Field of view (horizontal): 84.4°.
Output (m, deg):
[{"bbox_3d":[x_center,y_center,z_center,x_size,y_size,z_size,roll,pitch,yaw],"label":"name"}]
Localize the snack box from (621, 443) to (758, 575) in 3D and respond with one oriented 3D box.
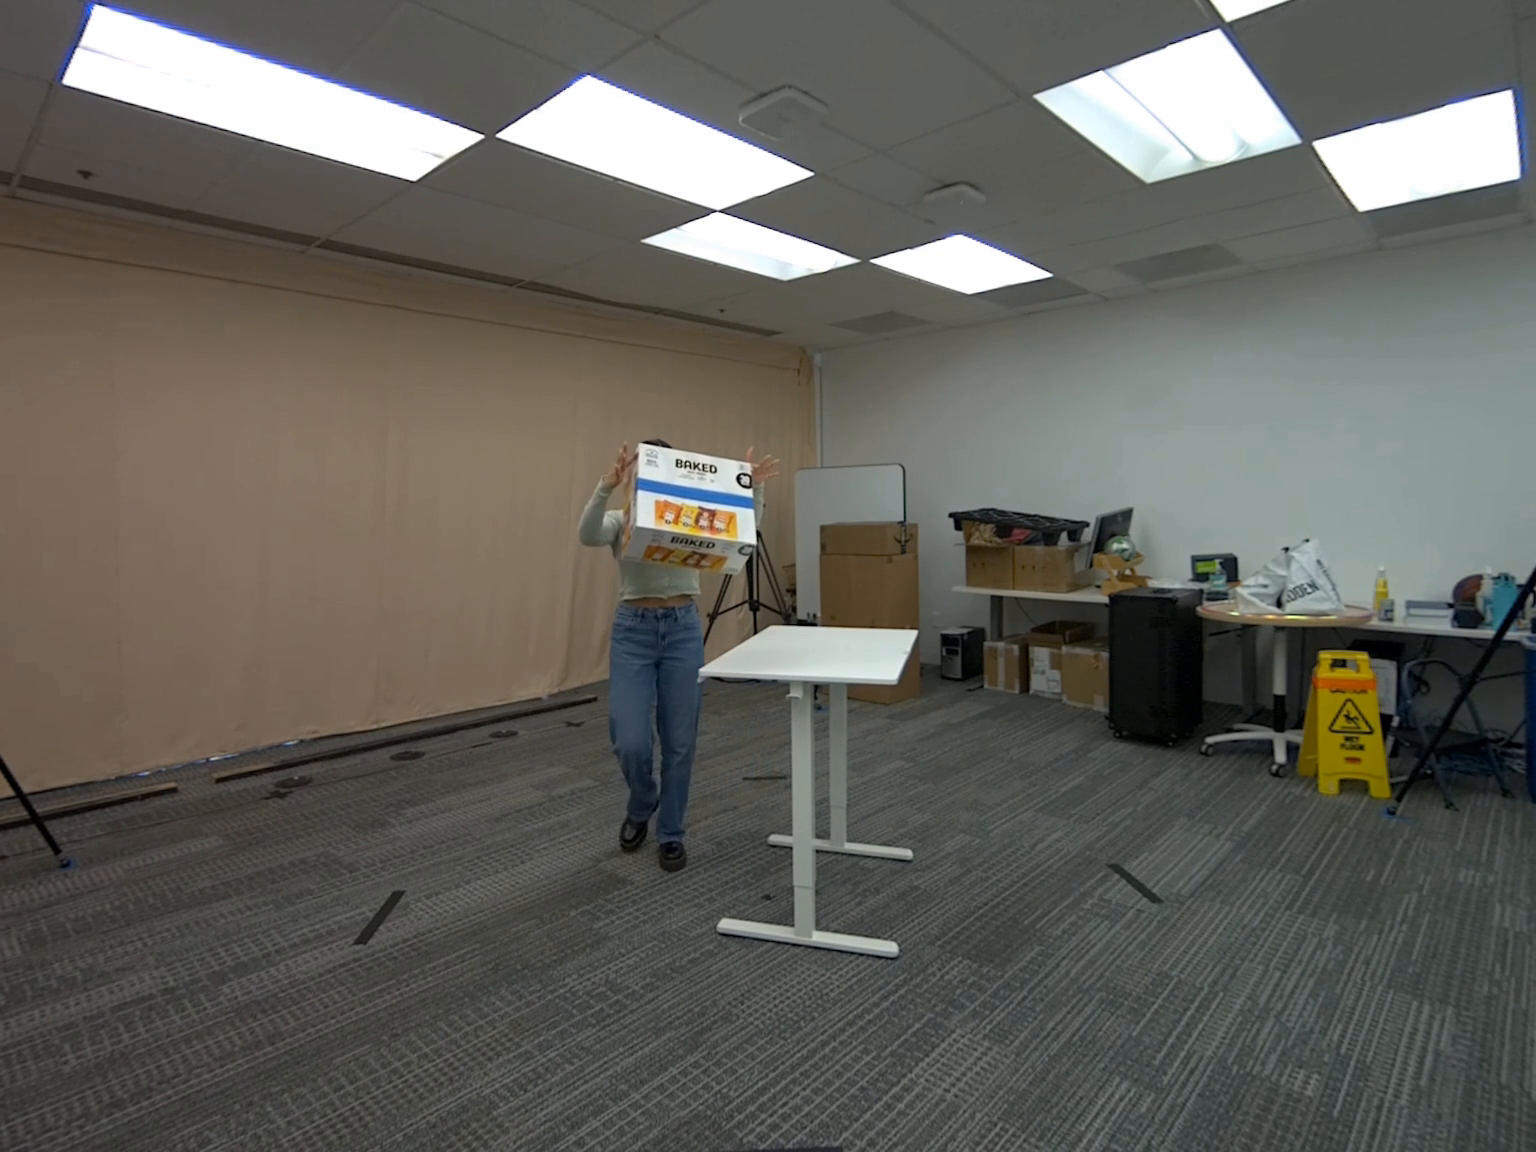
[{"bbox_3d":[-0.270,-0.219,2.845,0.398,0.346,0.206,9,-35,-16],"label":"snack box"}]
